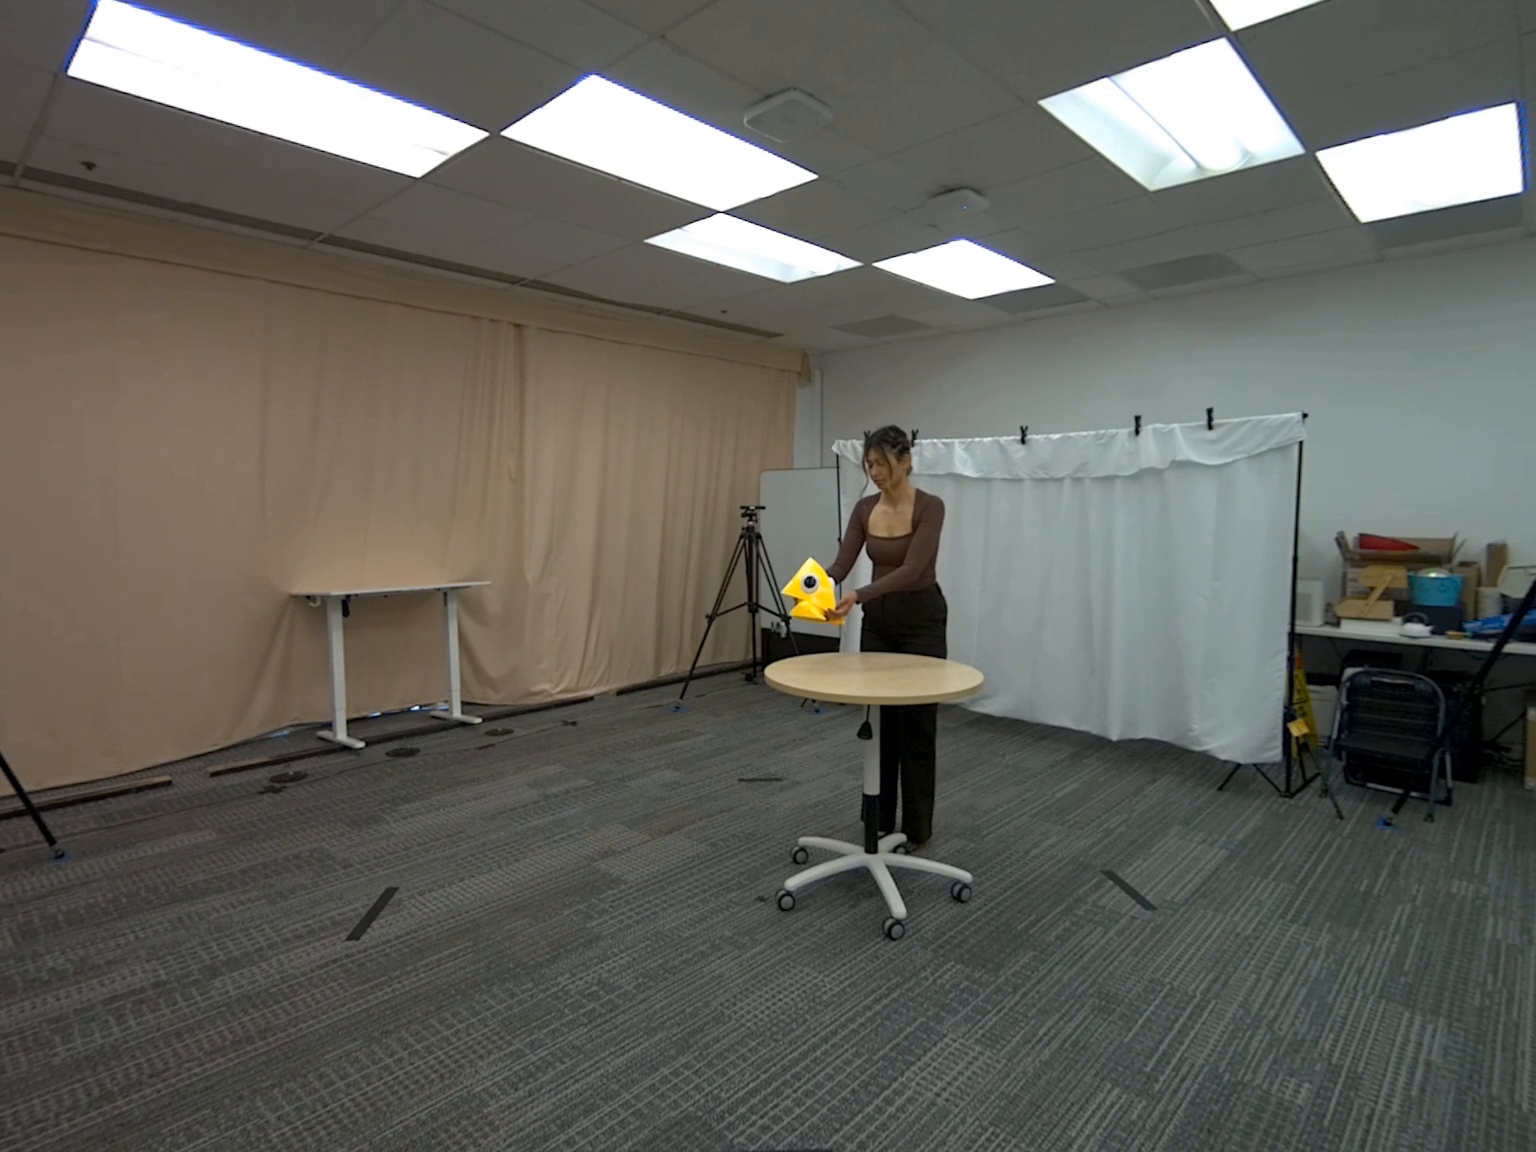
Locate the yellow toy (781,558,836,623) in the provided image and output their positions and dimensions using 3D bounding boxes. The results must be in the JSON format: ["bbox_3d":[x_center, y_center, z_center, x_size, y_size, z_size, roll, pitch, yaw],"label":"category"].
[{"bbox_3d":[0.192,0.046,3.118,0.197,0.231,0.199,15,-9,-42],"label":"yellow toy"}]
